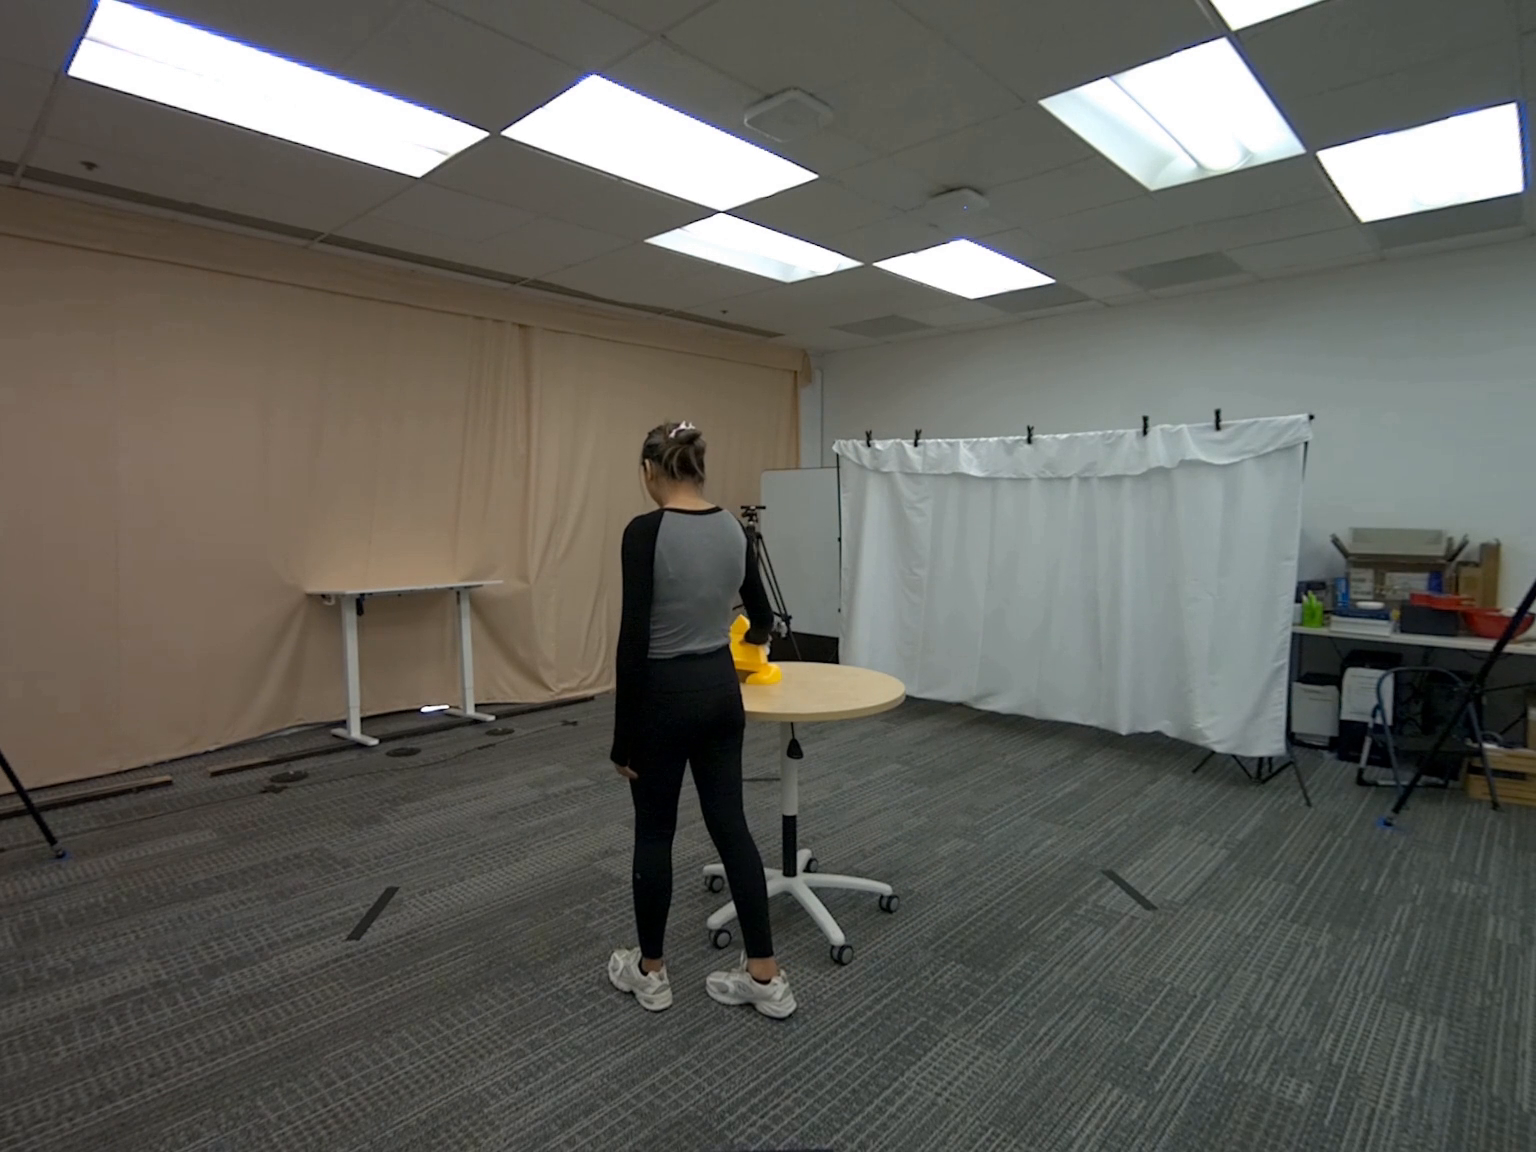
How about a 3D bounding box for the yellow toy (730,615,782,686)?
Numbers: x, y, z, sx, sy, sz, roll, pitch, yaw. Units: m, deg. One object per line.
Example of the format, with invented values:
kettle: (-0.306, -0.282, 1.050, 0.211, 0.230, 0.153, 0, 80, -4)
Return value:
yellow toy: (-0.054, 0.243, 2.908, 0.211, 0.230, 0.187, 3, 4, 34)
